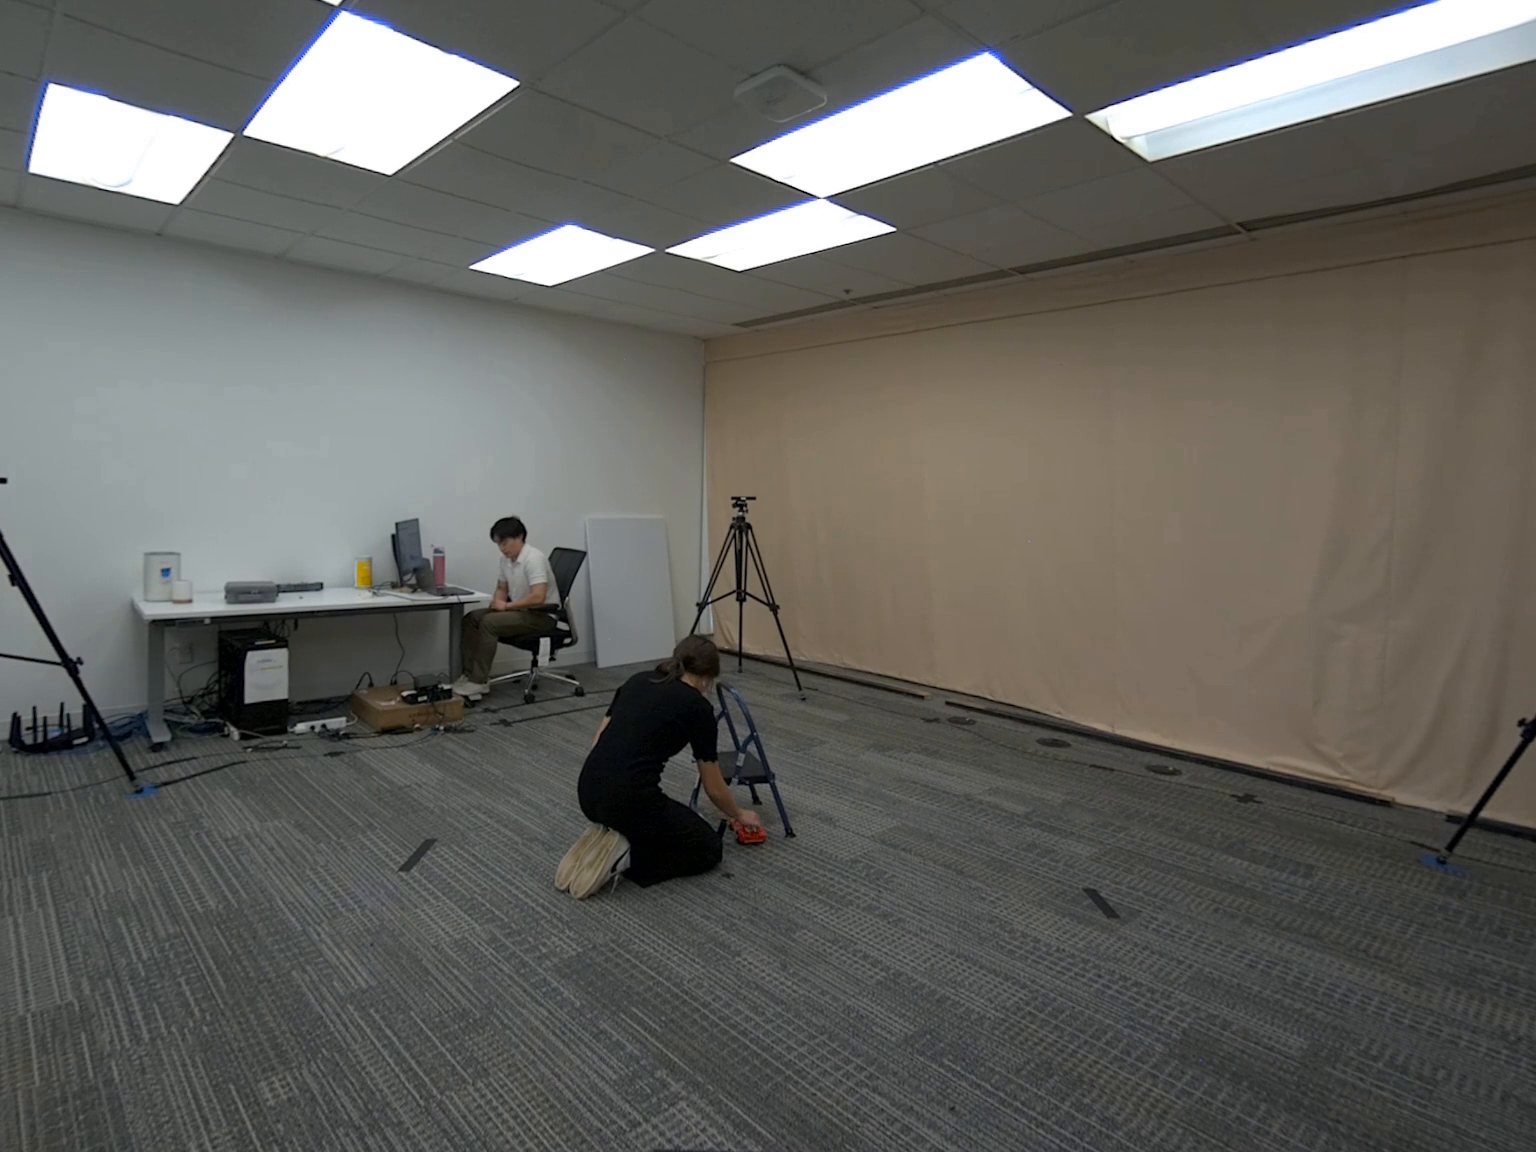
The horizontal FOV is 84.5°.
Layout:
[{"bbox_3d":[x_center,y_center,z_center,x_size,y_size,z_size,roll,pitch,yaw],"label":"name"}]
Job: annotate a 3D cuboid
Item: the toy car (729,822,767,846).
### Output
[{"bbox_3d":[-0.093,1.047,3.467,0.129,0.083,0.256,2,-5,-15],"label":"toy car"}]
